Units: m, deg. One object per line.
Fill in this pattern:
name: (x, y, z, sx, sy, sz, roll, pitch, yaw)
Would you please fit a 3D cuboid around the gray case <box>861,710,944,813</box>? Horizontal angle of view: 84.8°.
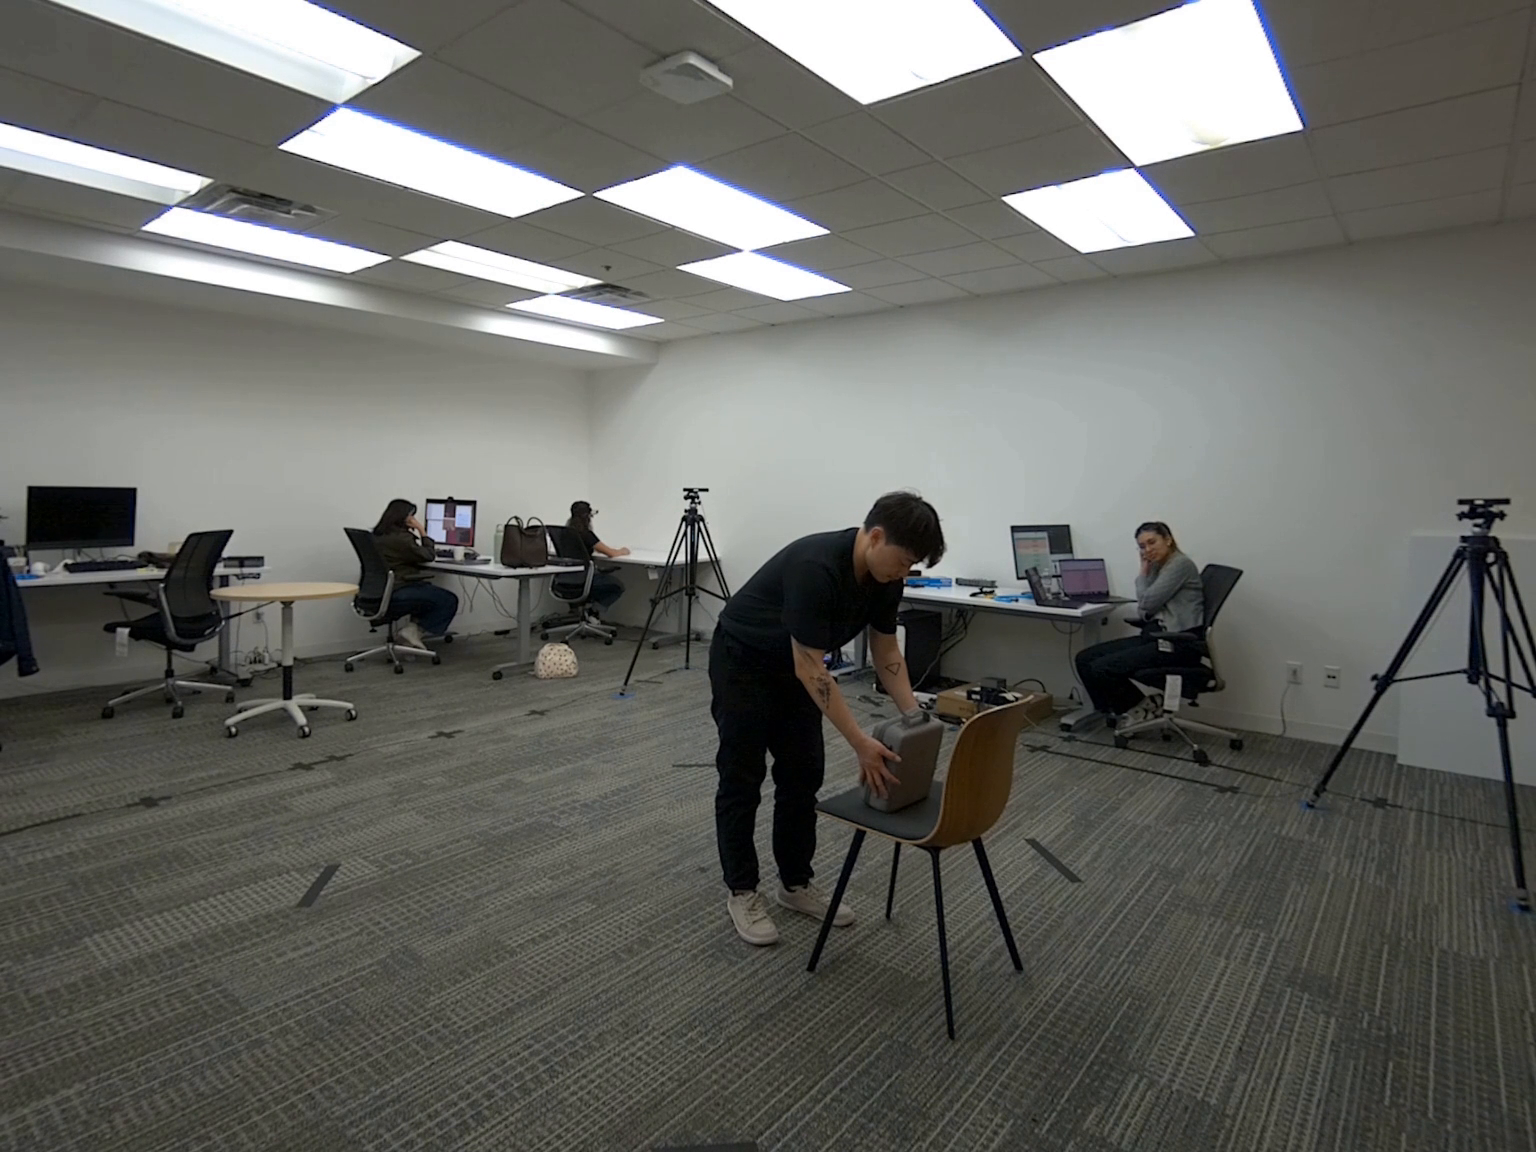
gray case: (0.387, 0.549, 2.485, 0.249, 0.257, 0.109, 2, 24, -32)
